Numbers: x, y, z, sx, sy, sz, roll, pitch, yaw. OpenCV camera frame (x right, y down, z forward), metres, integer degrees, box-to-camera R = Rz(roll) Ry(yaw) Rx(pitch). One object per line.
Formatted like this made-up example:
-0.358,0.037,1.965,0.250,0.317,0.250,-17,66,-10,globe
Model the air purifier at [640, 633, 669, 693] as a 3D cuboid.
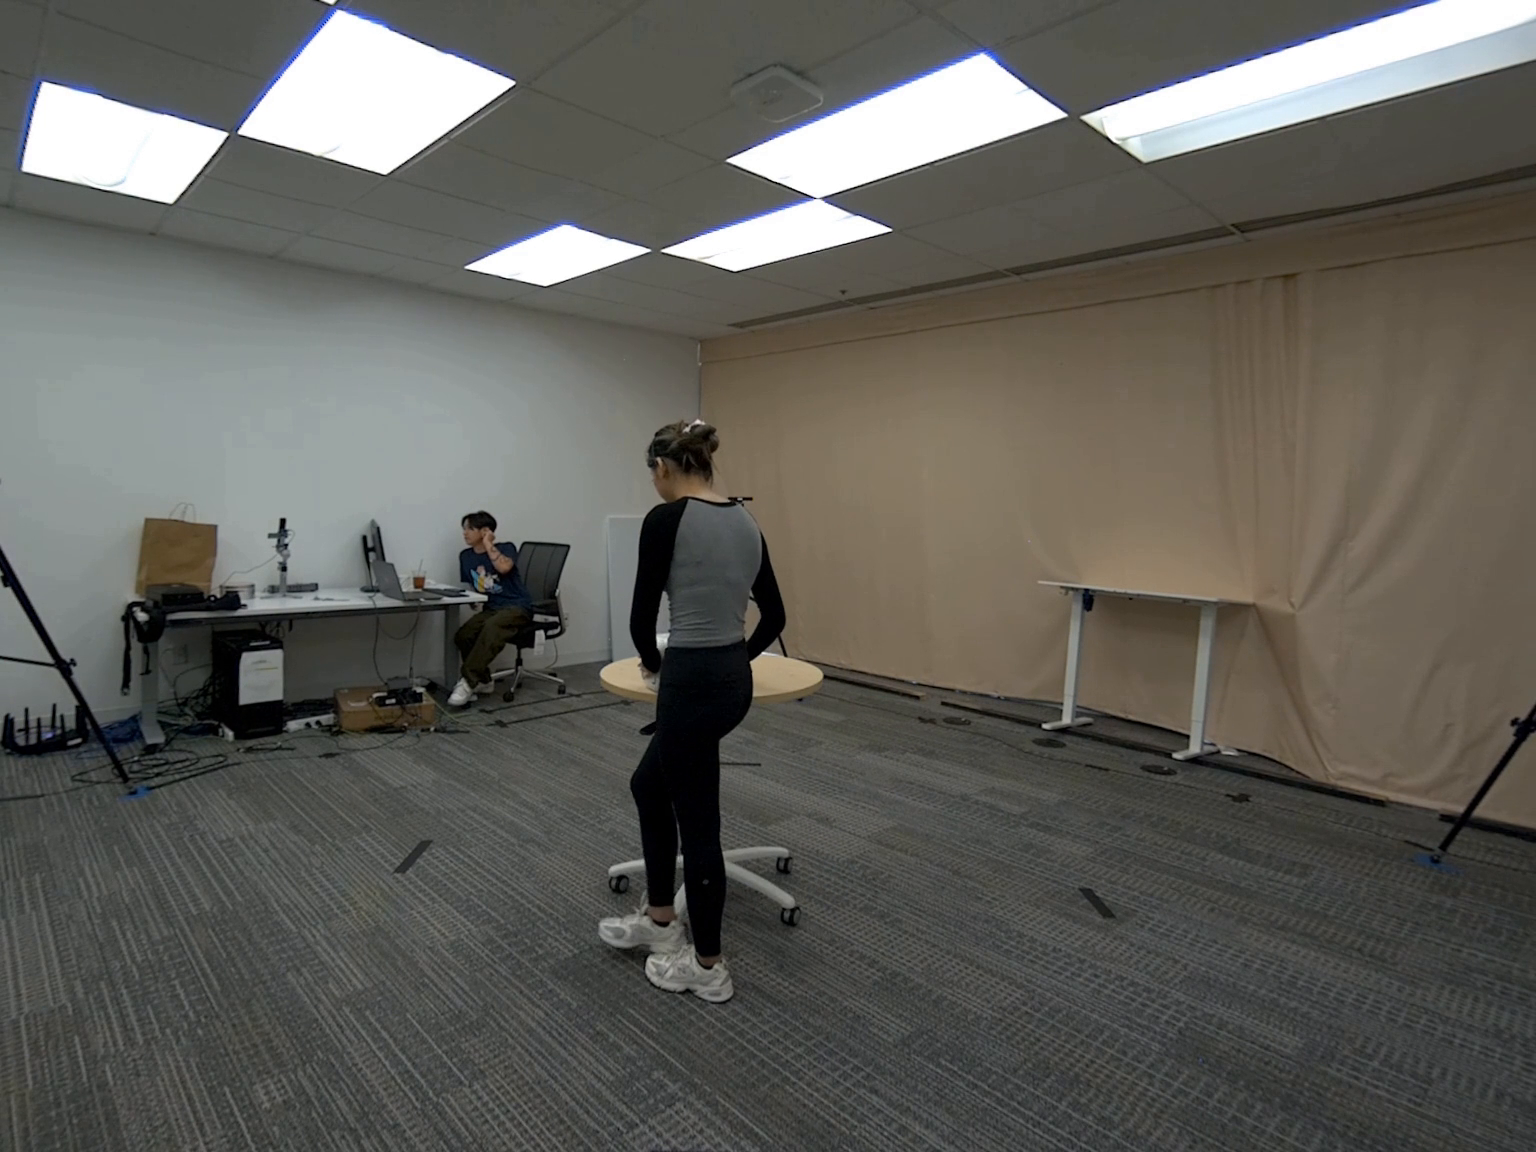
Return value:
-0.254,0.269,2.656,0.260,0.171,0.175,-2,6,-28,air purifier
